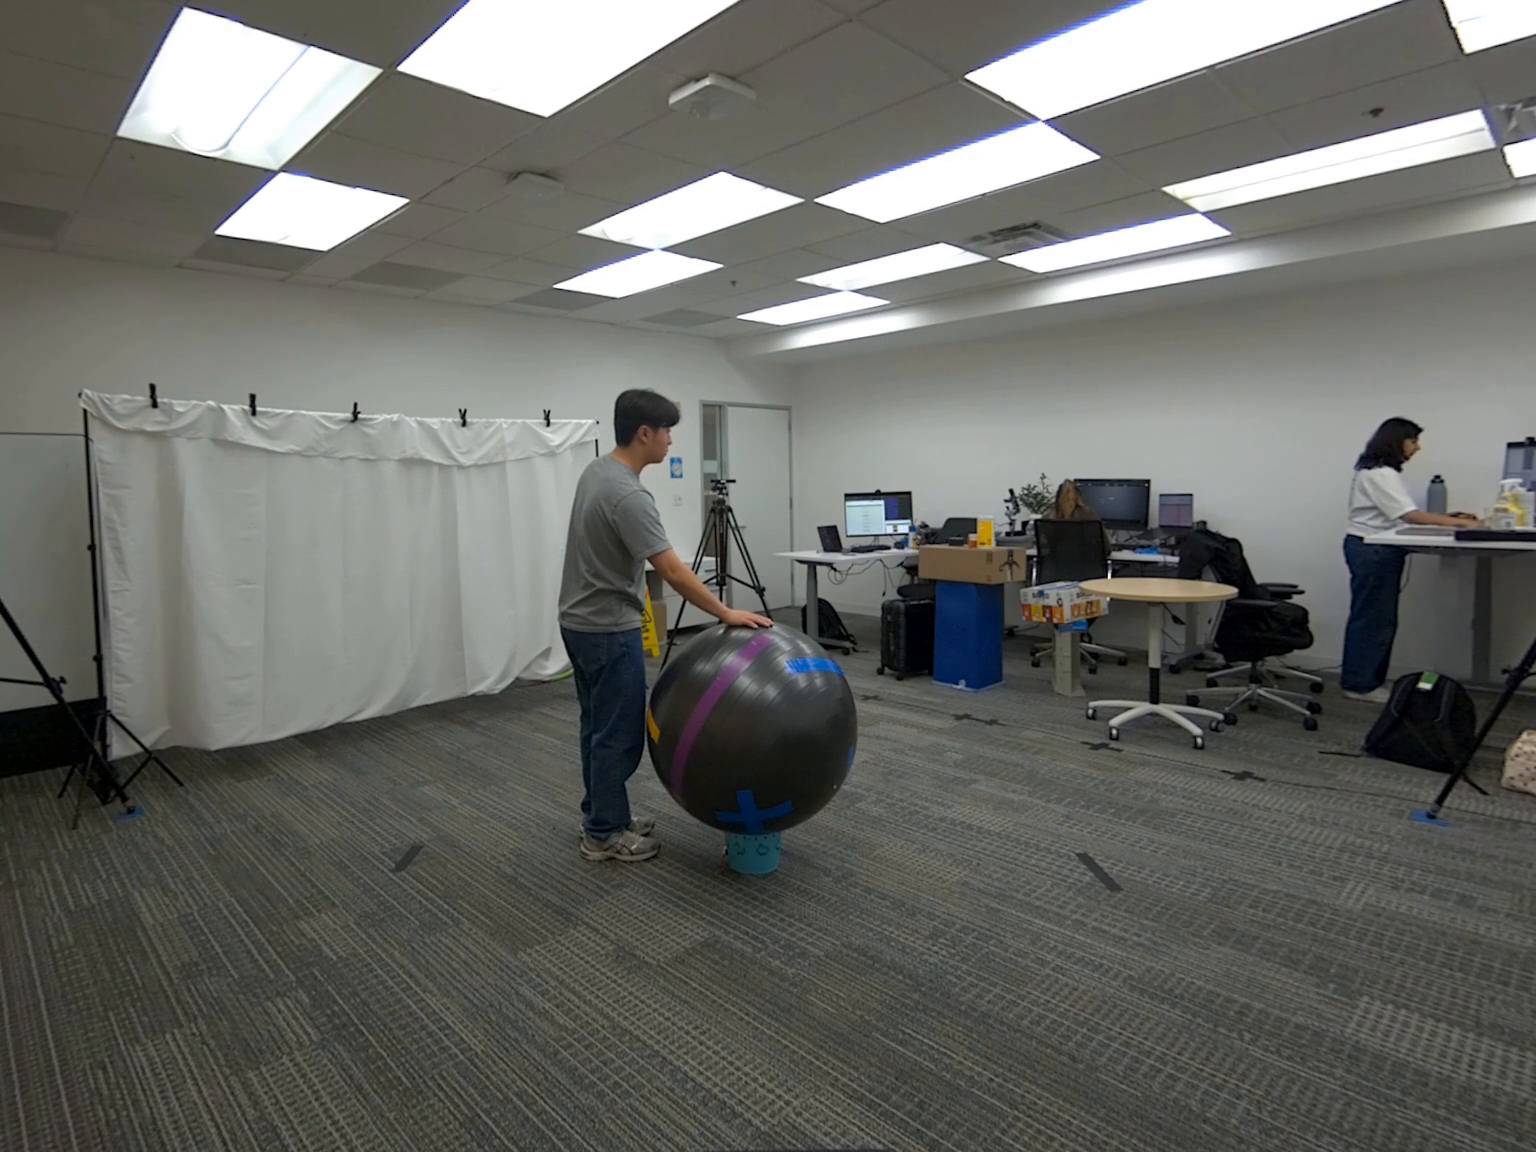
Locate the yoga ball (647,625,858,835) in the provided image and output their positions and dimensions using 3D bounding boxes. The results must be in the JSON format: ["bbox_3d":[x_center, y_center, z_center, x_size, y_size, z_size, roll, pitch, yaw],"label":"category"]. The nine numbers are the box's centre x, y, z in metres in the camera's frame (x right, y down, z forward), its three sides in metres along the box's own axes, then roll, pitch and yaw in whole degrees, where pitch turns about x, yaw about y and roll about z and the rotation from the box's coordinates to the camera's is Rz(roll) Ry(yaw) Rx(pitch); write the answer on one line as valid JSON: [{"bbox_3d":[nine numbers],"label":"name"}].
[{"bbox_3d":[-0.059,0.534,3.086,0.757,0.755,0.762,-1,5,-2],"label":"yoga ball"}]
